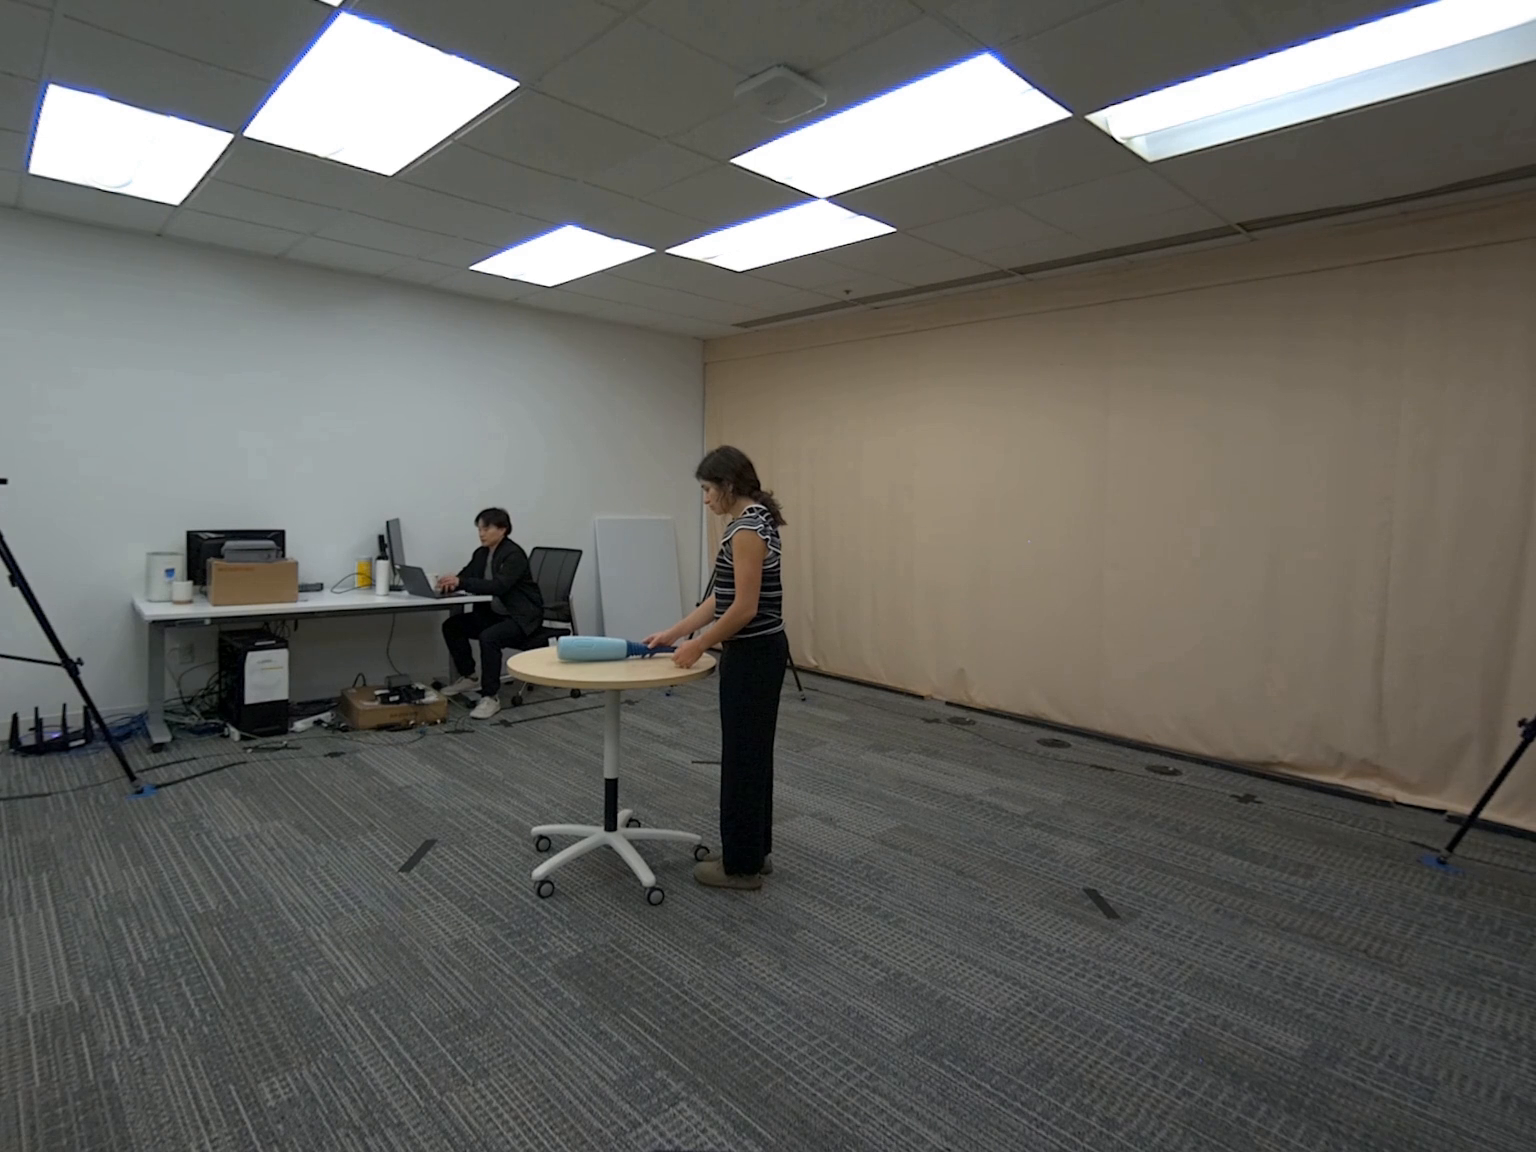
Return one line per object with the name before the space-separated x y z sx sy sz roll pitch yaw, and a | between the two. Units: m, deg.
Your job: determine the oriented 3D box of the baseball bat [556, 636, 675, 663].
baseball bat | -0.517 0.274 3.137 0.534 0.089 0.090 3 3 -20
